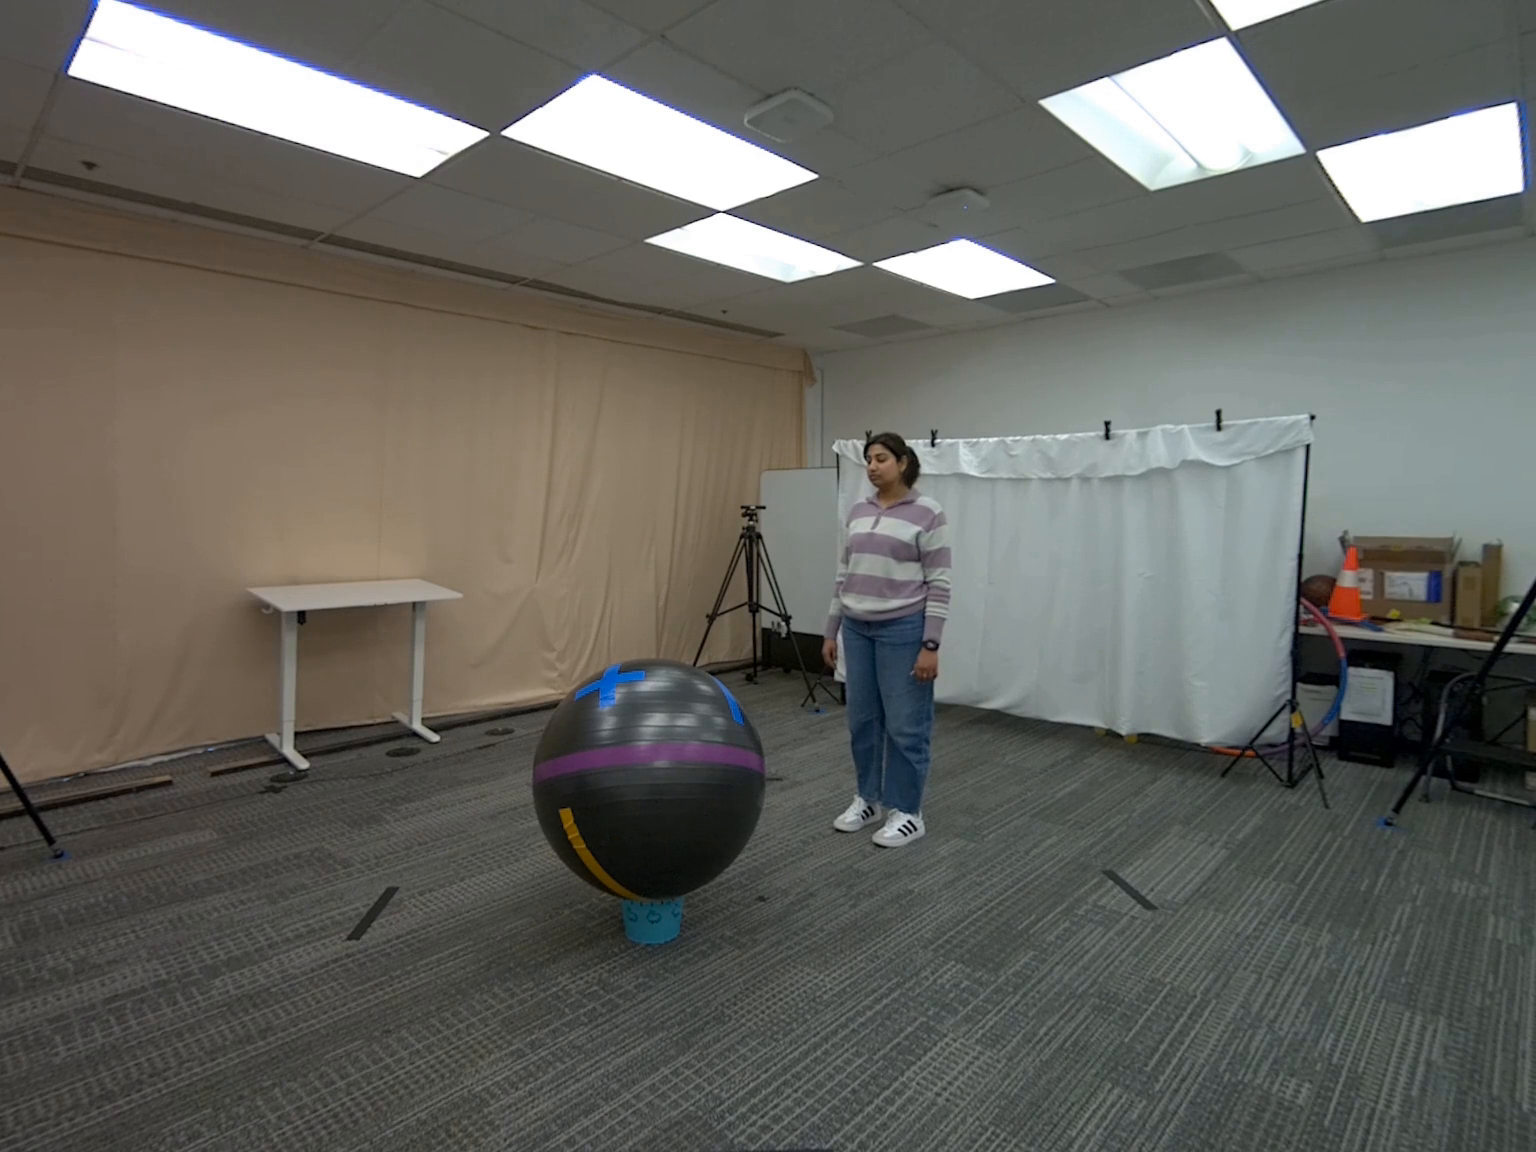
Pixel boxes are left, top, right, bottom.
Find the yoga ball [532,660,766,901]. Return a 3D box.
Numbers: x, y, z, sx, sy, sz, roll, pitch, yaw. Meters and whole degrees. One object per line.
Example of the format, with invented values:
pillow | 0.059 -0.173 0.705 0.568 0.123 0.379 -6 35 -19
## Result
yoga ball | -0.390 0.657 2.757 0.757 0.756 0.760 0 4 -2
